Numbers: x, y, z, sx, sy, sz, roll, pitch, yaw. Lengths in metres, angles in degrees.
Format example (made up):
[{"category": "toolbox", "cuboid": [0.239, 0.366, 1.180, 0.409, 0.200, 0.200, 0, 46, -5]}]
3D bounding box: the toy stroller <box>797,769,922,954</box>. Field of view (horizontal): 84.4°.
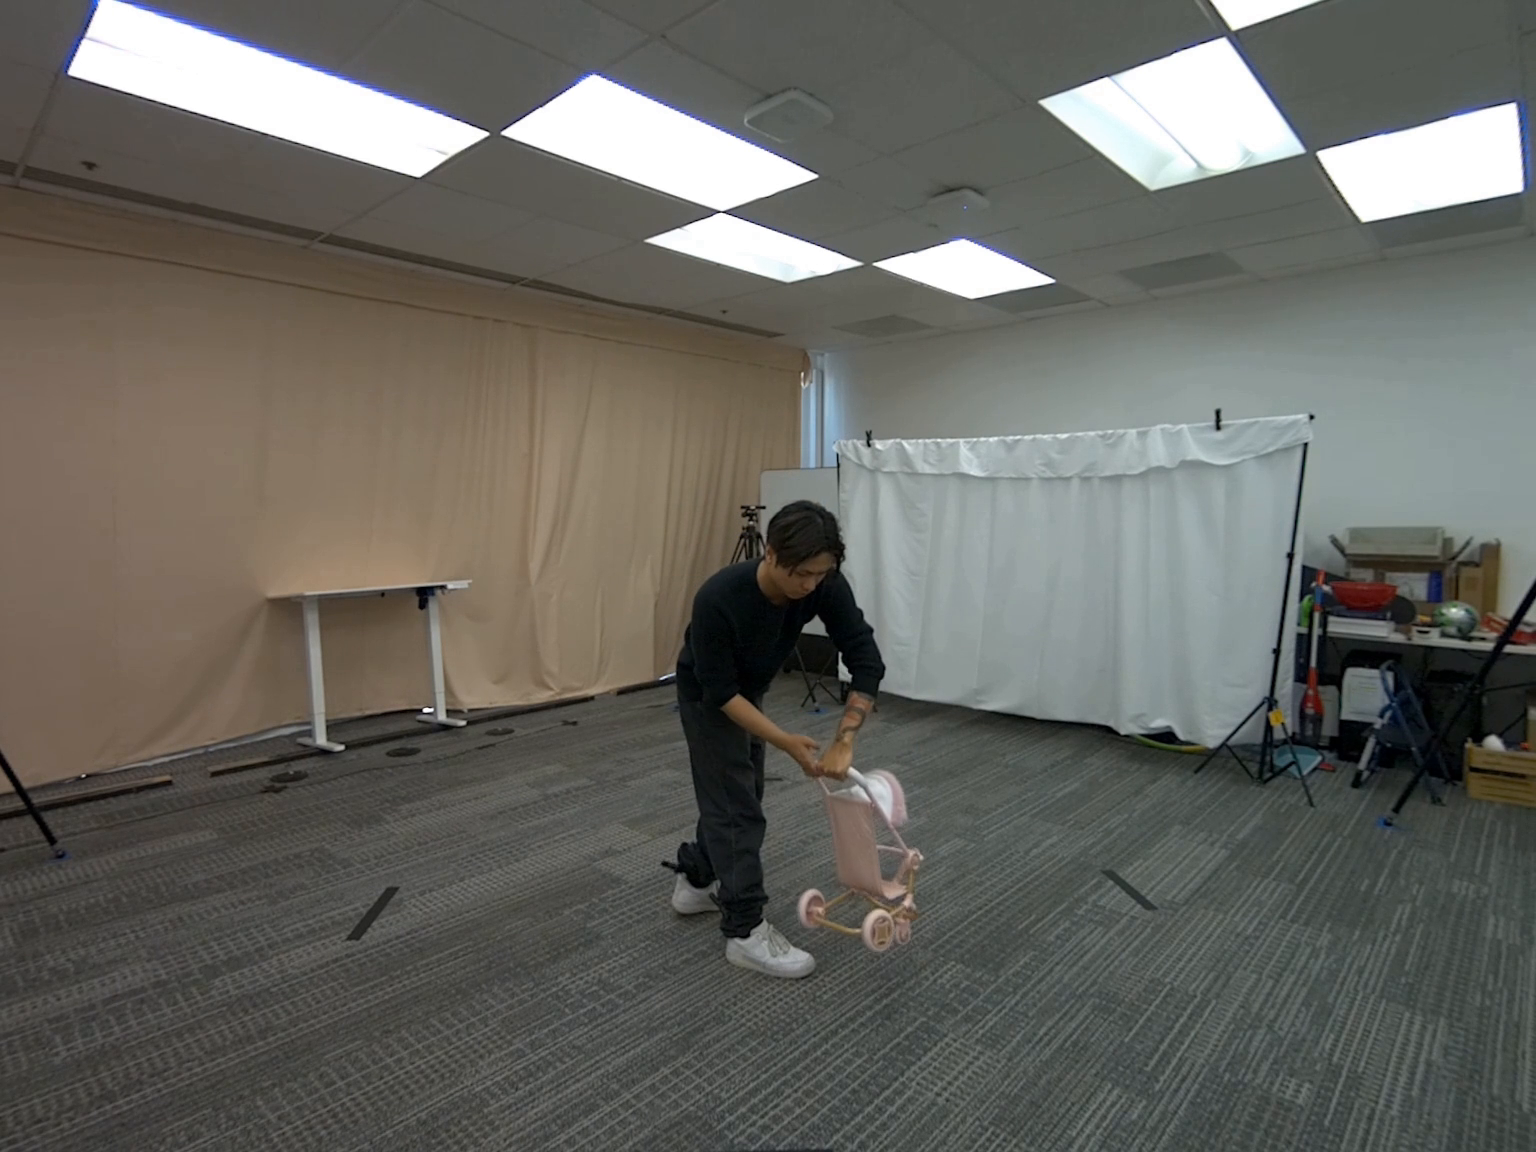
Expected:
[{"category": "toy stroller", "cuboid": [0.304, 0.806, 2.403, 0.331, 0.538, 0.289, 5, -10, -35]}]
